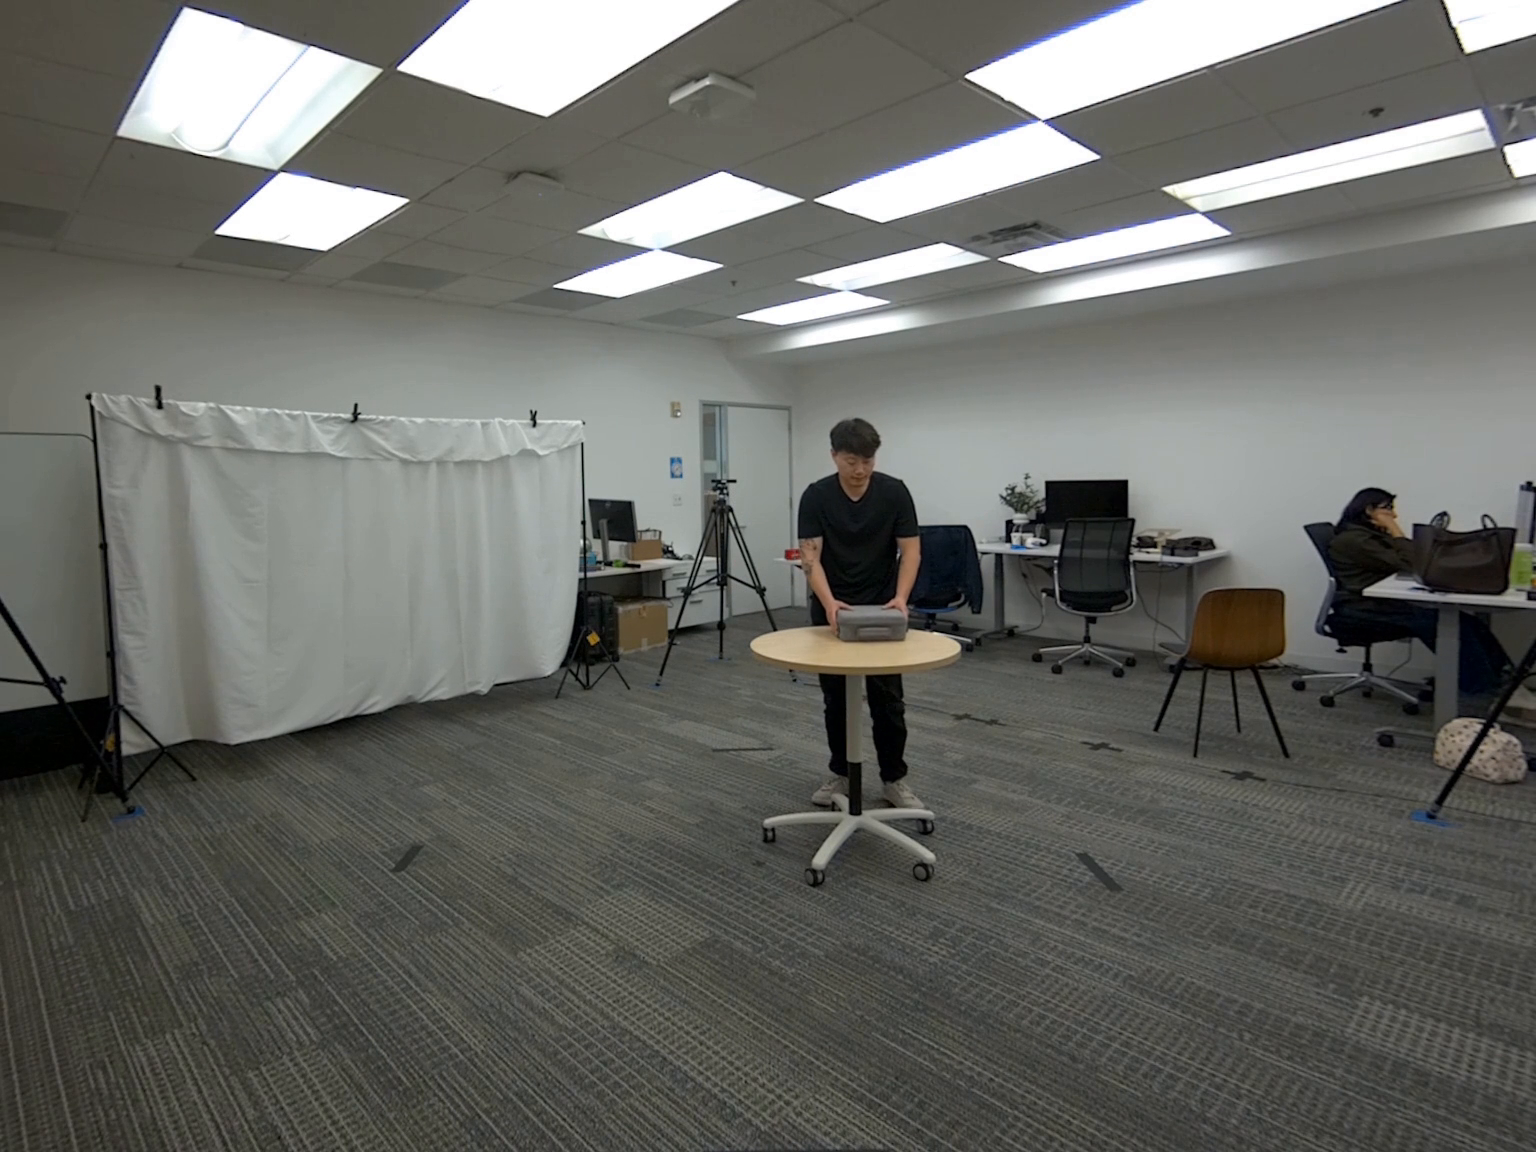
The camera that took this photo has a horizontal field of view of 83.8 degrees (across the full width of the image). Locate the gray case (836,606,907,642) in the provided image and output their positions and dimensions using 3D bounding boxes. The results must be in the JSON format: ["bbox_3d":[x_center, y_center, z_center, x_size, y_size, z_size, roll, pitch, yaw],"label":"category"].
[{"bbox_3d":[0.383,0.183,3.293,0.257,0.104,0.262,0,6,-1],"label":"gray case"}]
